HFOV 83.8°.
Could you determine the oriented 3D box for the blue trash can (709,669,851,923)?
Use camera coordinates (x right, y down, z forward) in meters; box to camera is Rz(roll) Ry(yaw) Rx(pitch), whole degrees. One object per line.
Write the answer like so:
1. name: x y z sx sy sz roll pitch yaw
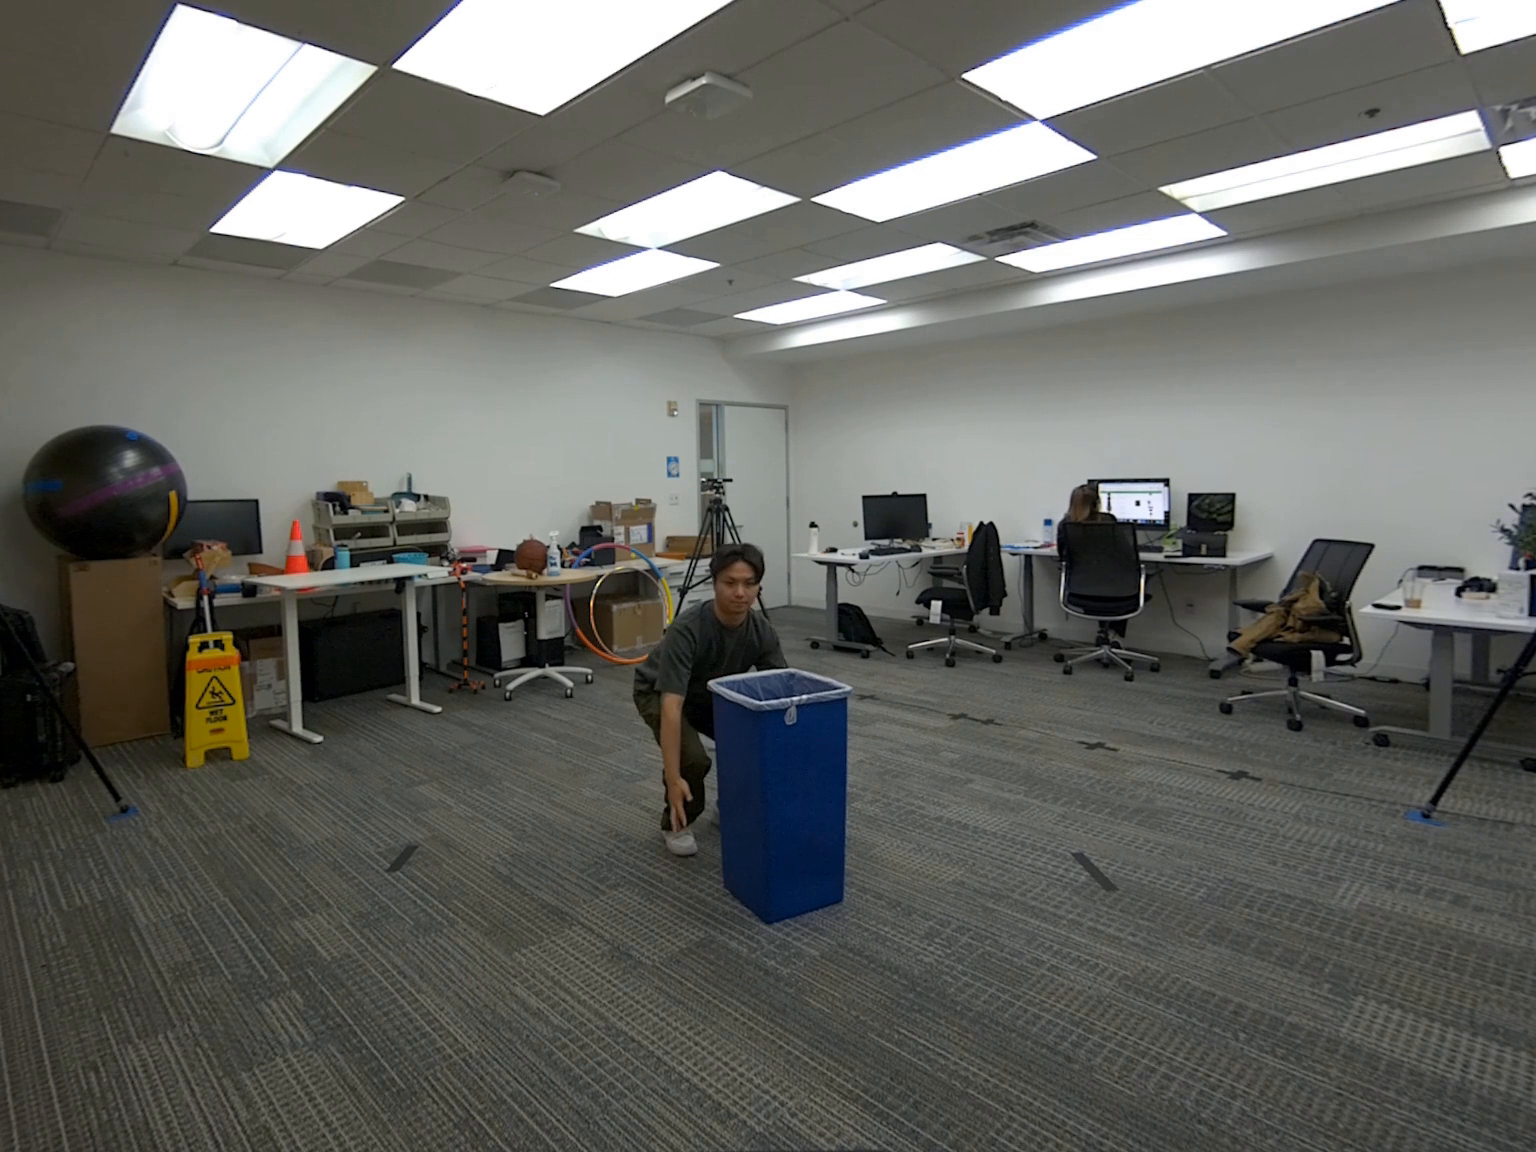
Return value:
1. blue trash can: 0.049 0.713 2.863 0.365 0.711 0.388 -4 5 -30
